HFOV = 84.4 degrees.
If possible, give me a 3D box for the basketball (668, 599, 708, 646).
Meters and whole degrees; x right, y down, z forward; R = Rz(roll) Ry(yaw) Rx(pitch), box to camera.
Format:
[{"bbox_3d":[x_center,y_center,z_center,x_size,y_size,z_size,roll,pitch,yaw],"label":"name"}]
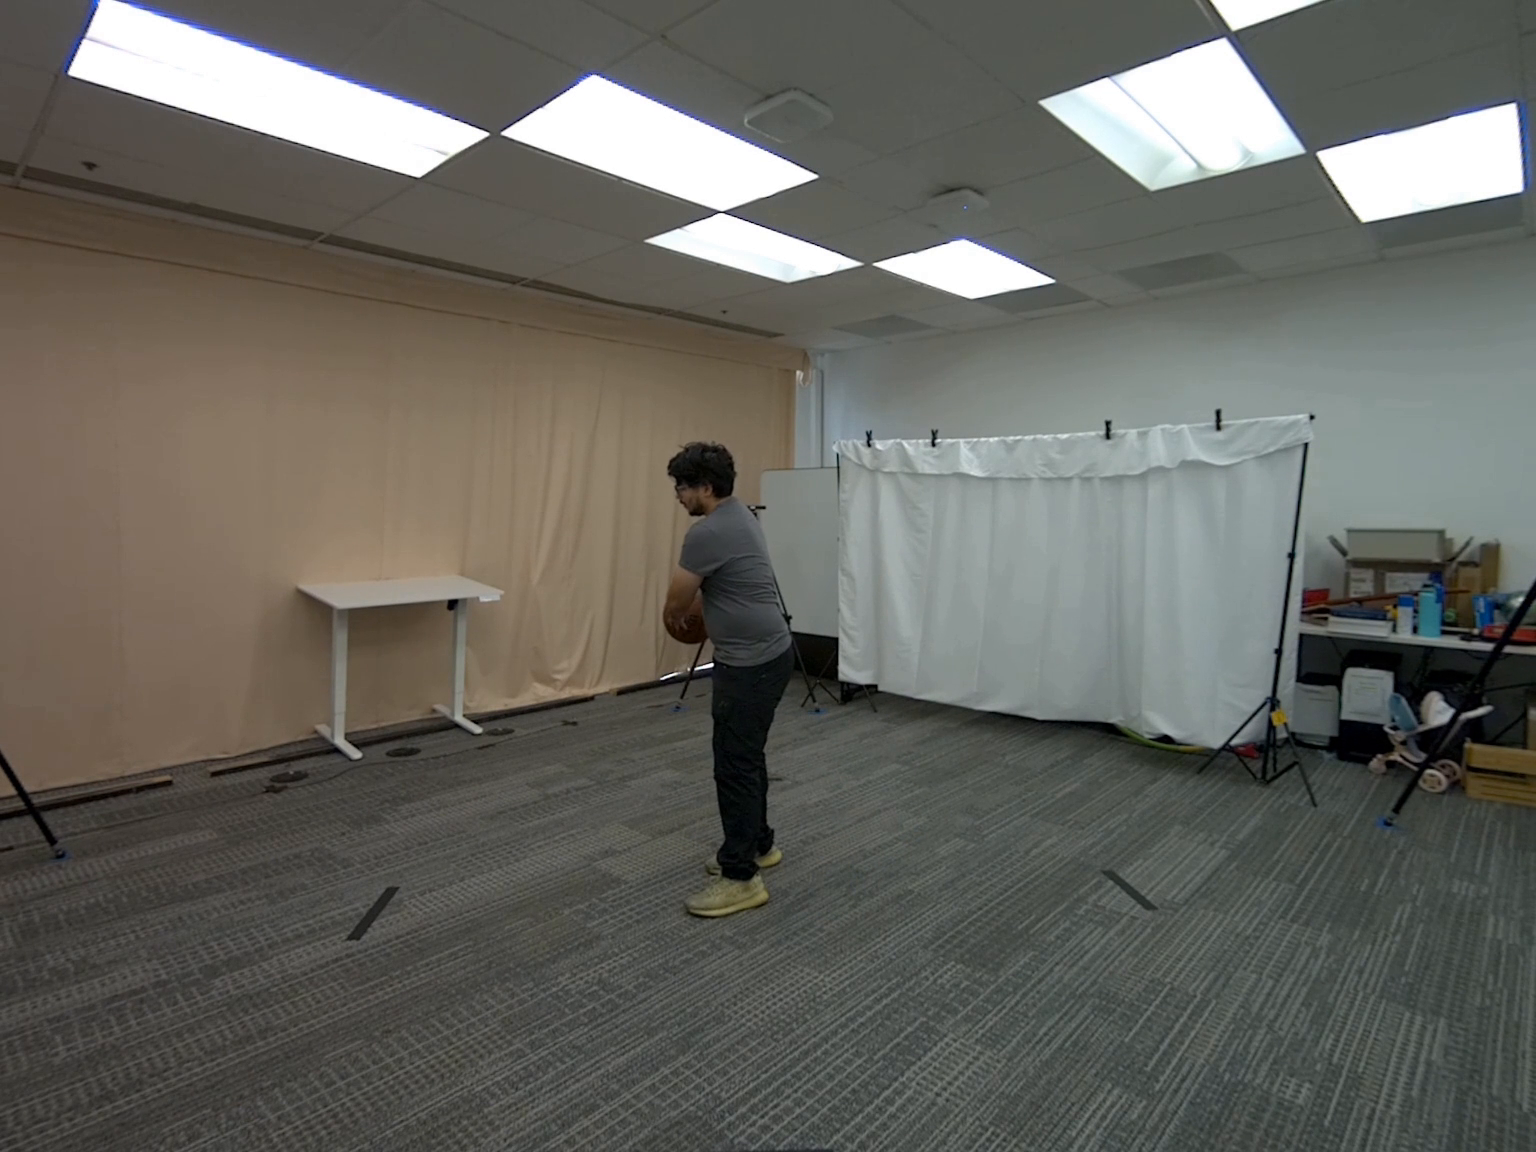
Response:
[{"bbox_3d":[-0.328,0.177,3.522,0.236,0.235,0.237,0,4,-2],"label":"basketball"}]
